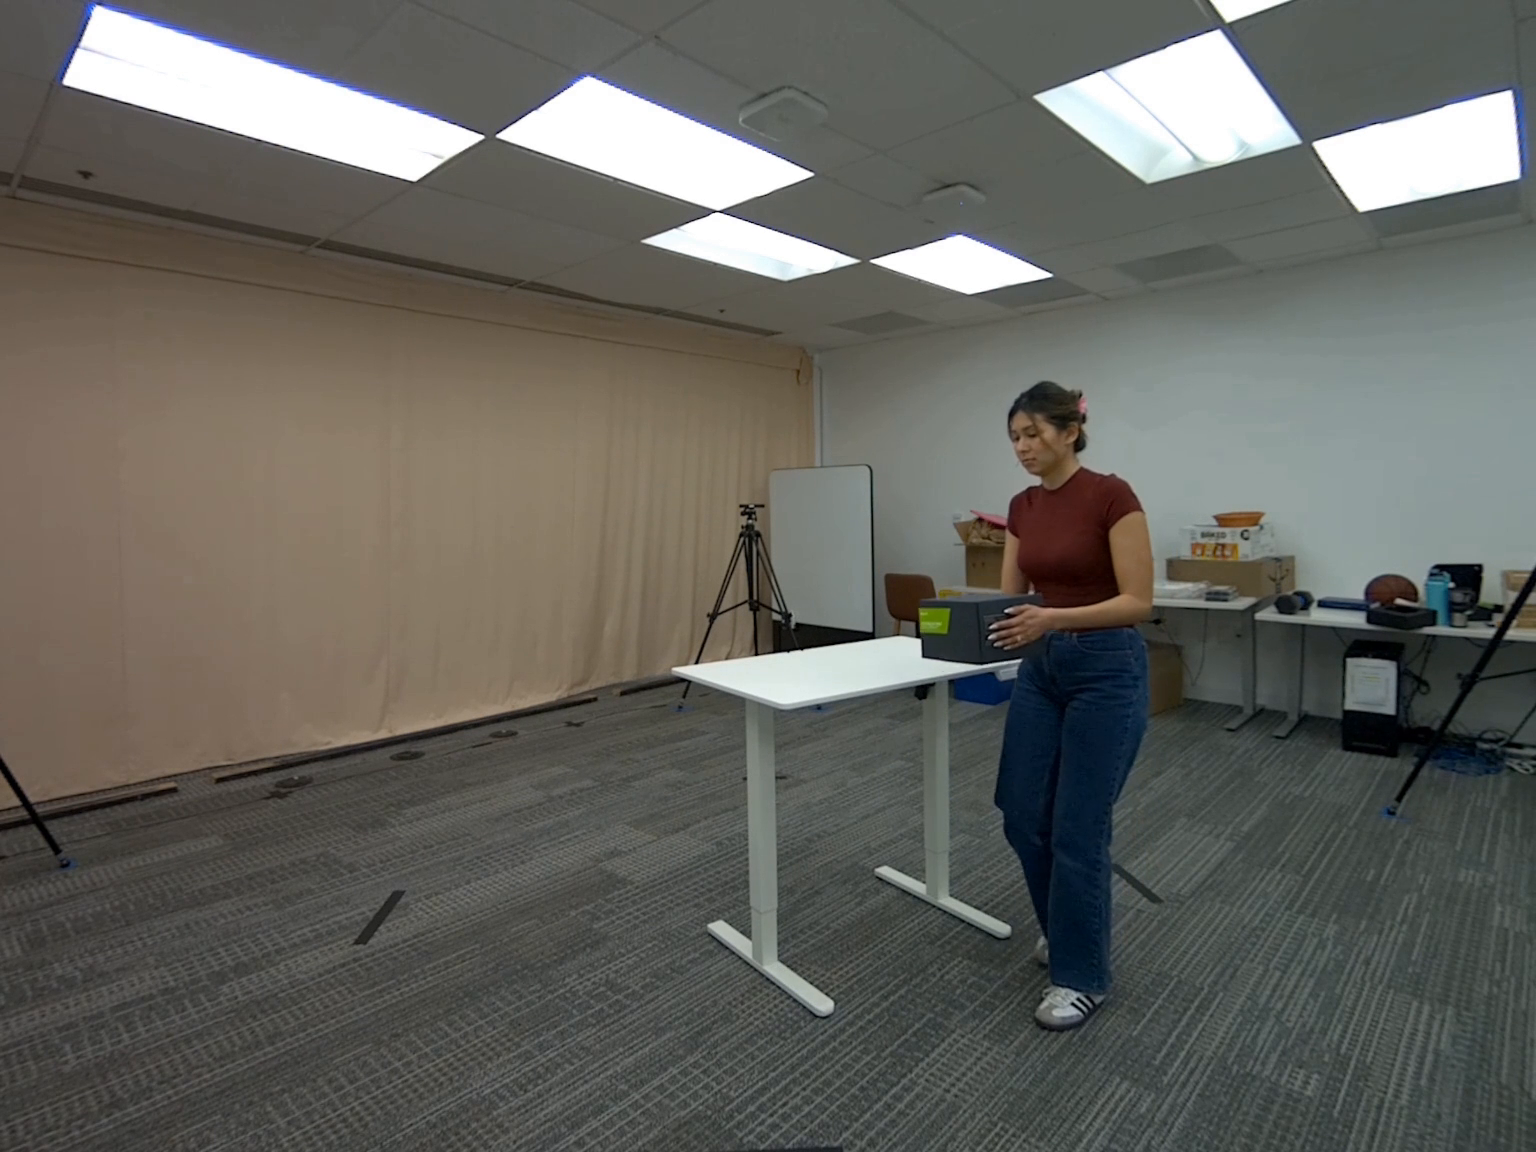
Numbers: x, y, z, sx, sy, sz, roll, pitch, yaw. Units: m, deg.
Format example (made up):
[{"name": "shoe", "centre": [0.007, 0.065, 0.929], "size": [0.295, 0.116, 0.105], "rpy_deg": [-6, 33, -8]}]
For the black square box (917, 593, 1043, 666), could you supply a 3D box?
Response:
[{"name": "black square box", "centre": [0.559, 0.140, 2.167], "size": [0.212, 0.156, 0.233], "rpy_deg": [-5, 1, -25]}]
